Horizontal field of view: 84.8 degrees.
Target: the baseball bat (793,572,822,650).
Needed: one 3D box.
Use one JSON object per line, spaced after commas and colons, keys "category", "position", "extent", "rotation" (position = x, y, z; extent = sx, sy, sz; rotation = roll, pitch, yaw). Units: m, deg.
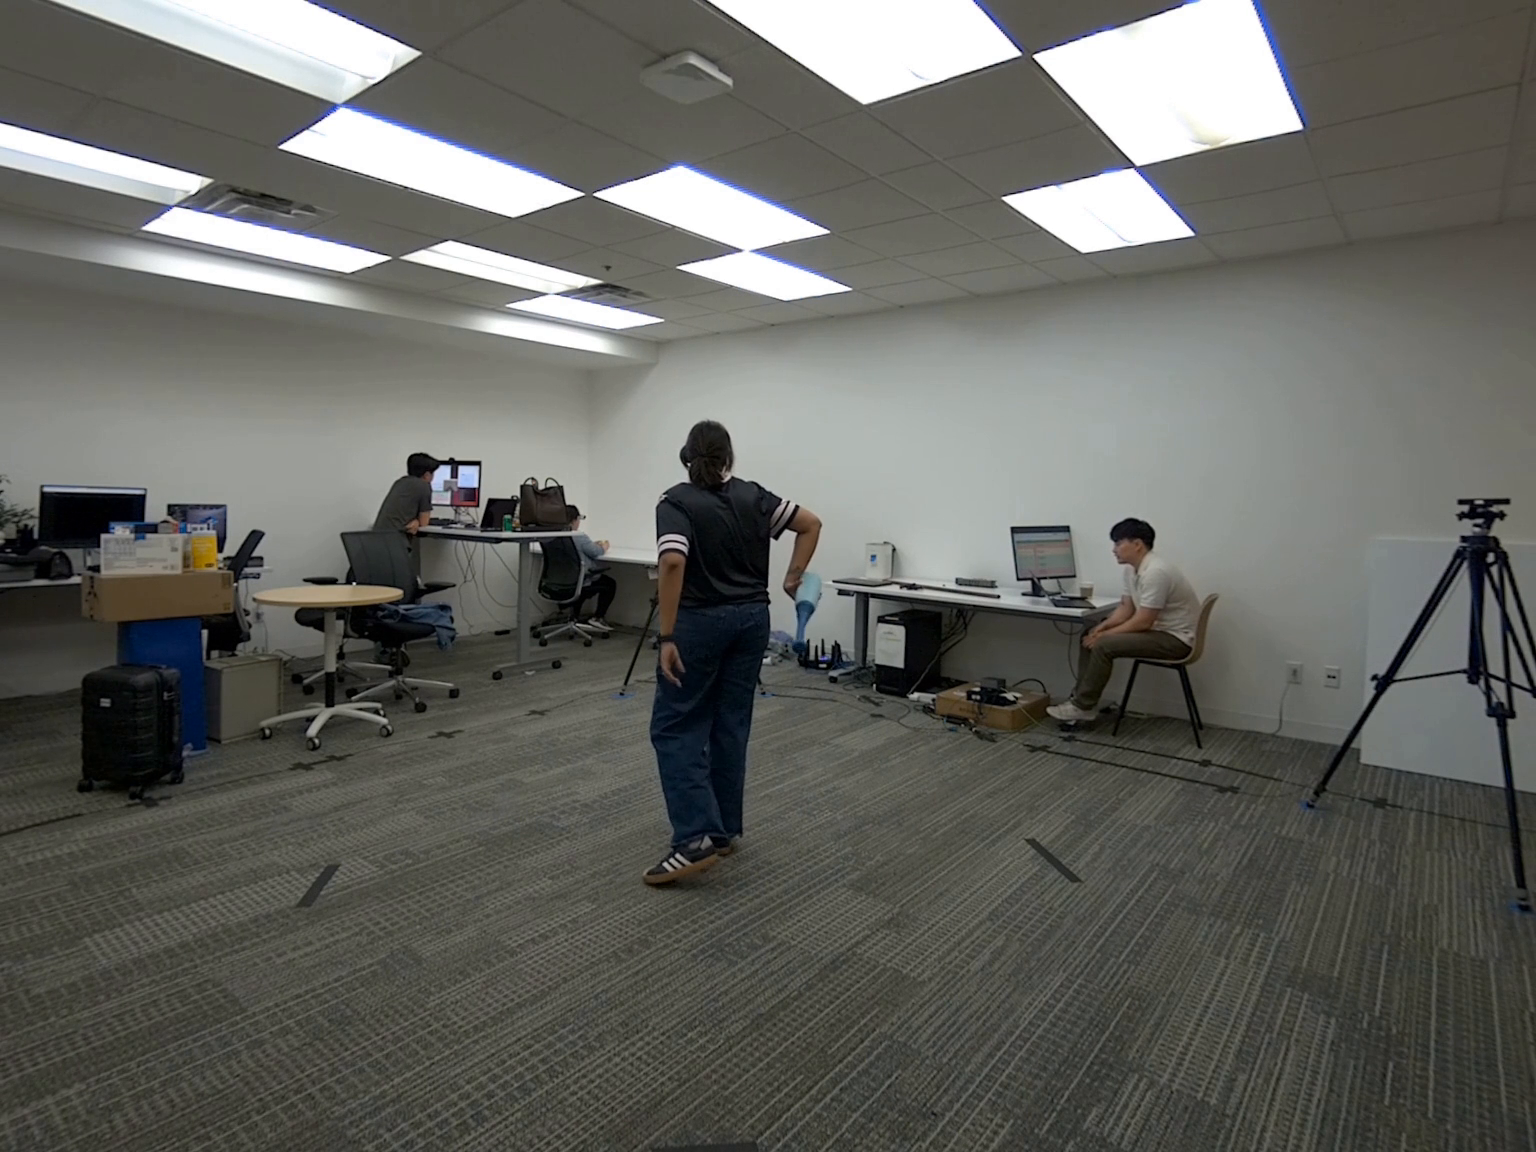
{"category": "baseball bat", "position": [0.141, 0.133, 3.065], "extent": [0.090, 0.087, 0.549], "rotation": [1, 25, 7]}
